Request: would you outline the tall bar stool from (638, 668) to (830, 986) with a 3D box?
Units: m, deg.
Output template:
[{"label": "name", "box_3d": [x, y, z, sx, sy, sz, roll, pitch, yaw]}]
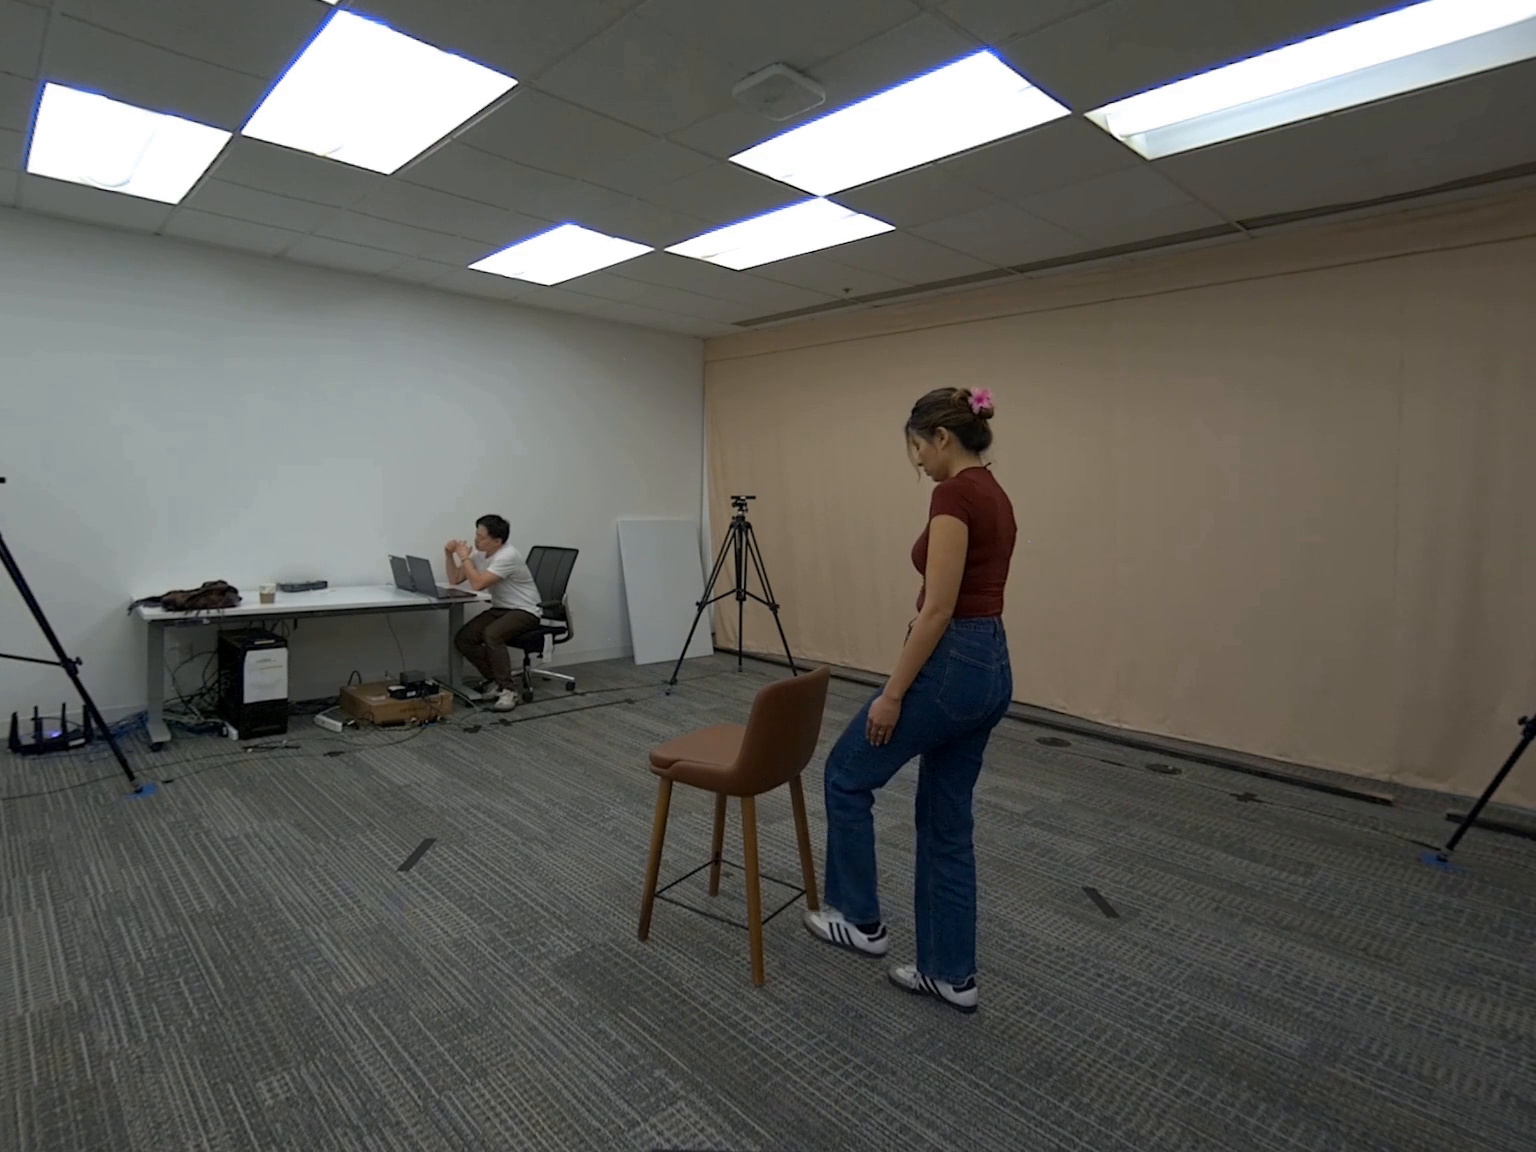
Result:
[{"label": "tall bar stool", "box_3d": [-0.099, 0.708, 2.641, 0.479, 0.886, 0.447, 6, 6, 34]}]
